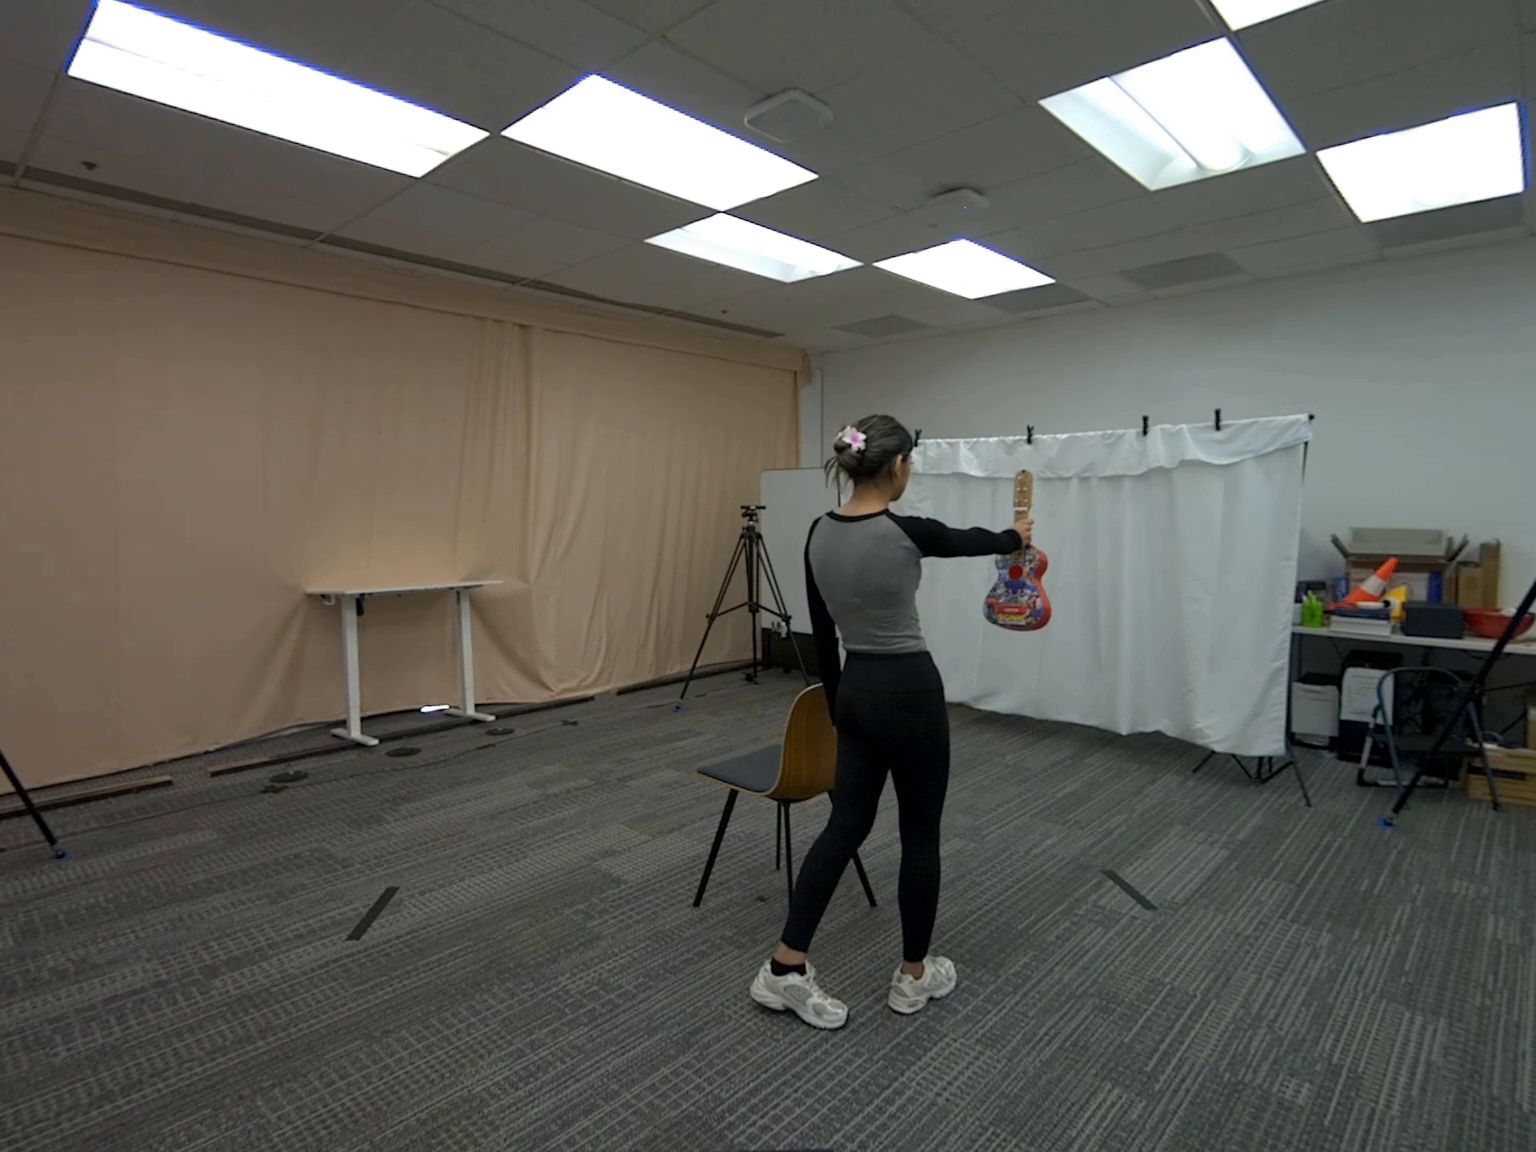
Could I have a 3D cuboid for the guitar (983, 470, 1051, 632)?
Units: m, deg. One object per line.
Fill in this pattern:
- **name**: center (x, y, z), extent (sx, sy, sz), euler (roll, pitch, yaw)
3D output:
- **guitar**: center (0.816, -0.075, 2.609), extent (0.200, 0.498, 0.068), euler (13, -3, 42)
